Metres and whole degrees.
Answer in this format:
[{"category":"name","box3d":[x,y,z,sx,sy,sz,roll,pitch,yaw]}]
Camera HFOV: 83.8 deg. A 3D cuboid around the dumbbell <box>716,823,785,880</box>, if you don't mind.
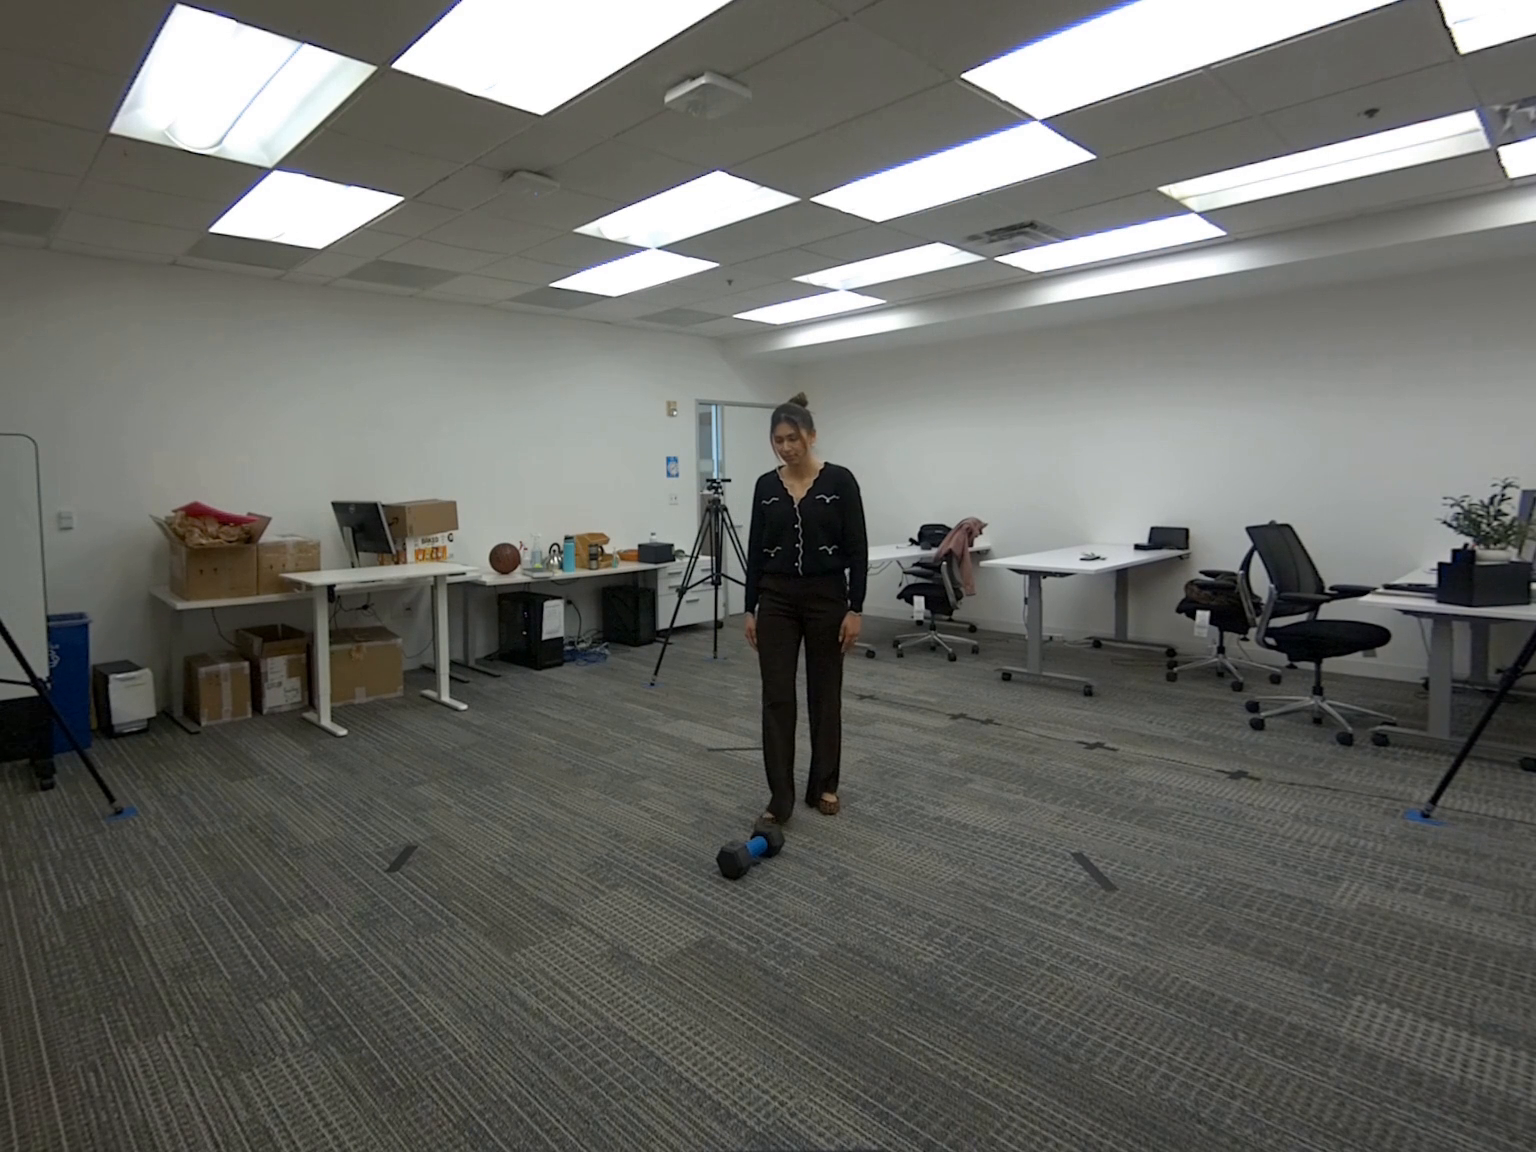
[{"category":"dumbbell","box3d":[-0.055,0.992,3.098,0.112,0.122,0.286,34,23,27]}]
